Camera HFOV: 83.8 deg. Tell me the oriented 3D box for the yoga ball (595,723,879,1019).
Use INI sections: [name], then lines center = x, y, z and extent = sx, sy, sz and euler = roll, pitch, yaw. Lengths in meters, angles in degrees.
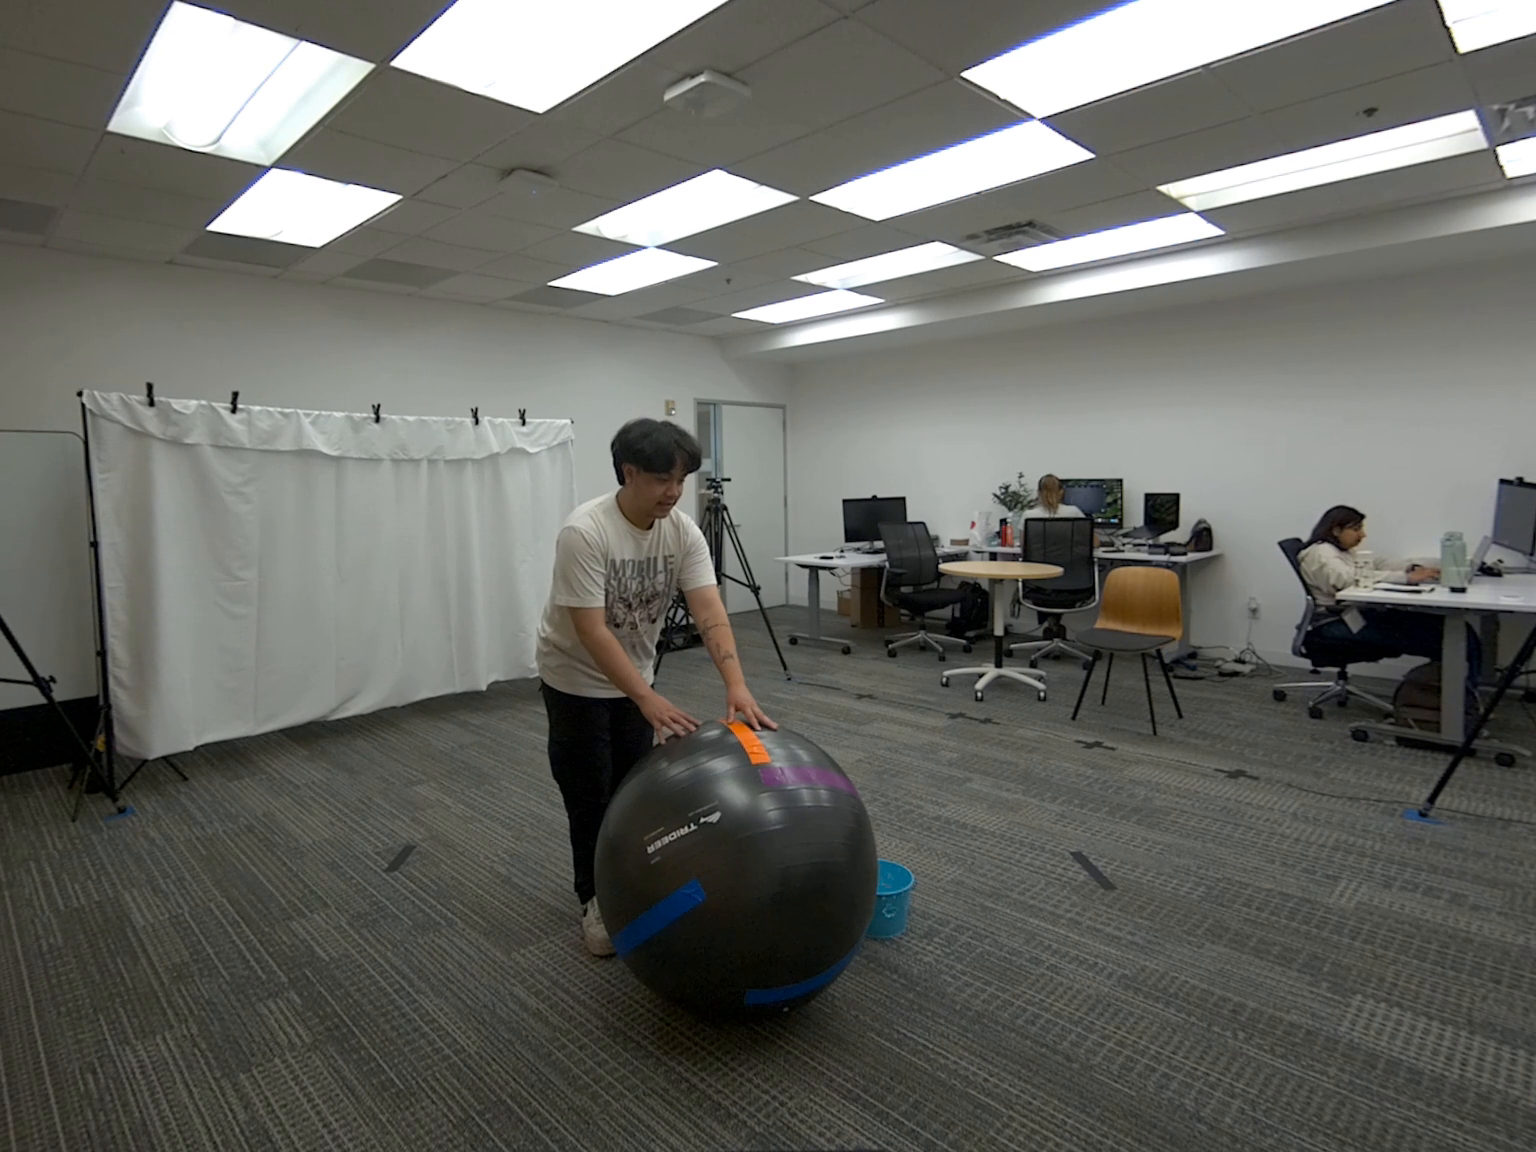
[yoga ball]
center = -0.081, 0.784, 2.286
extent = 0.757, 0.755, 0.762
euler = -1, 5, -2
